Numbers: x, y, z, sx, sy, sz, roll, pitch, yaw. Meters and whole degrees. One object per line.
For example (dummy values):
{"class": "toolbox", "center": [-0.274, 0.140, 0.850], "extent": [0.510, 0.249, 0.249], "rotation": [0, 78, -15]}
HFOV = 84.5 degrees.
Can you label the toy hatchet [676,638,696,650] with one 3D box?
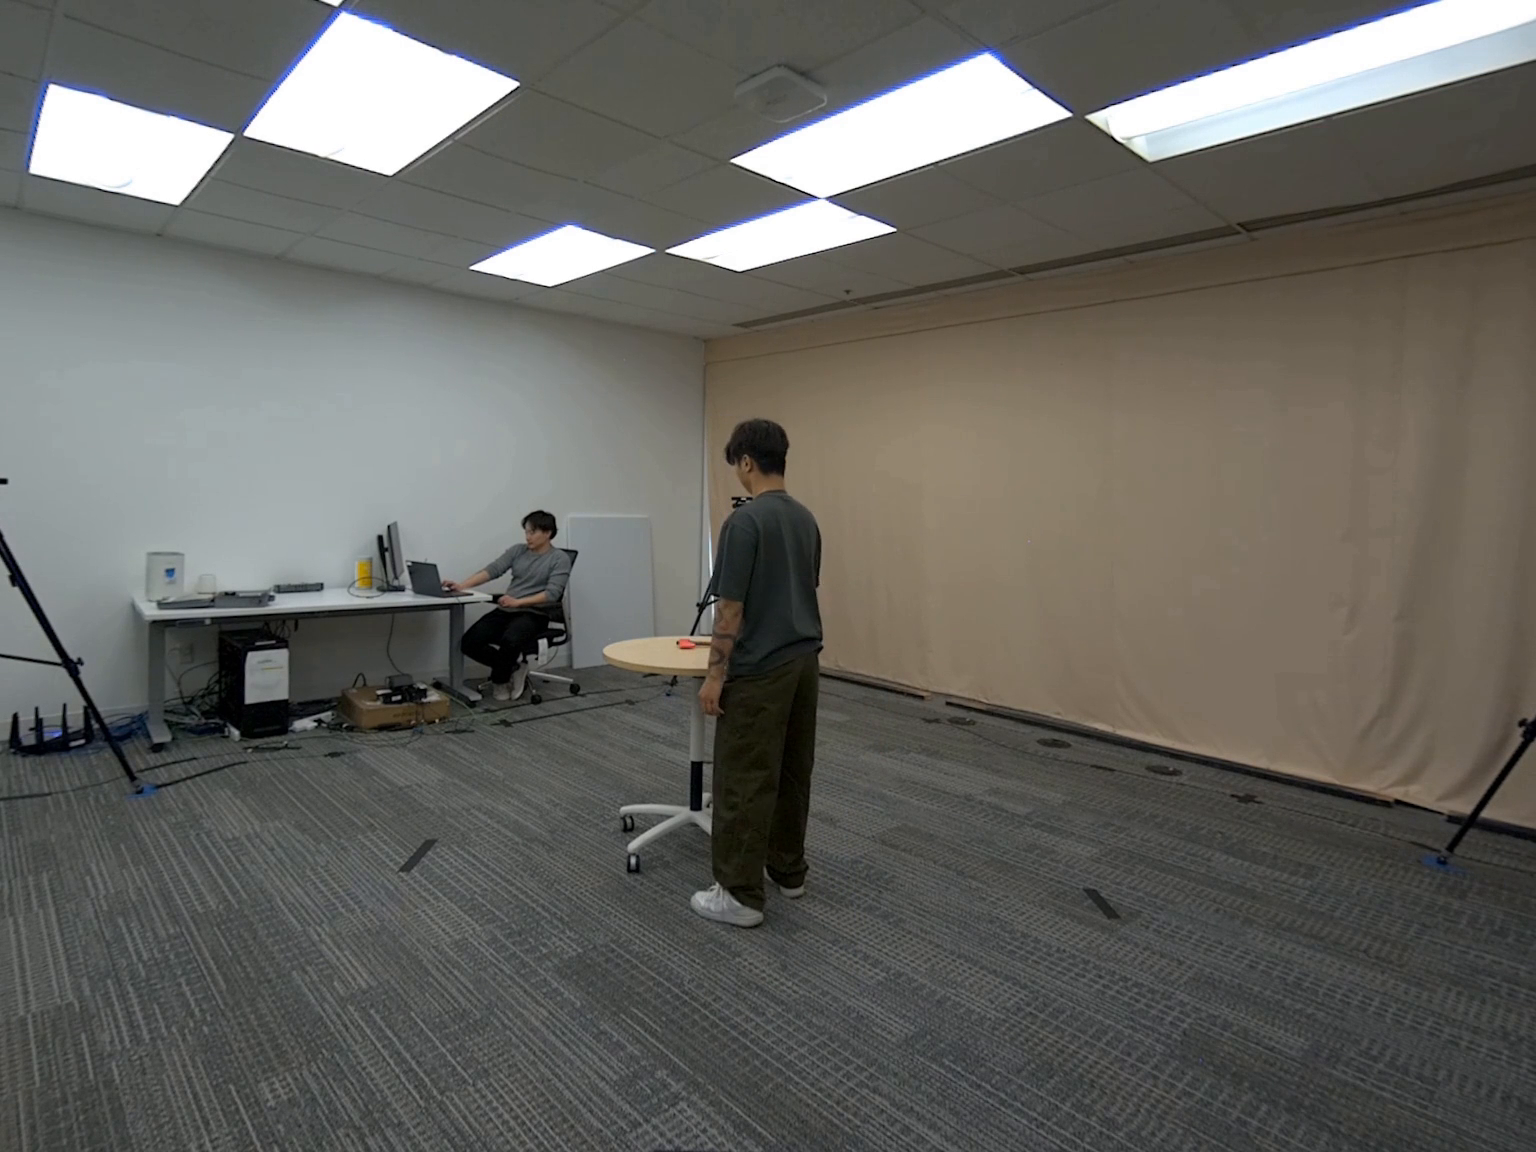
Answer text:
{"class": "toy hatchet", "center": [-0.247, 0.281, 3.404], "extent": [0.275, 0.029, 0.129], "rotation": [5, 7, 21]}
